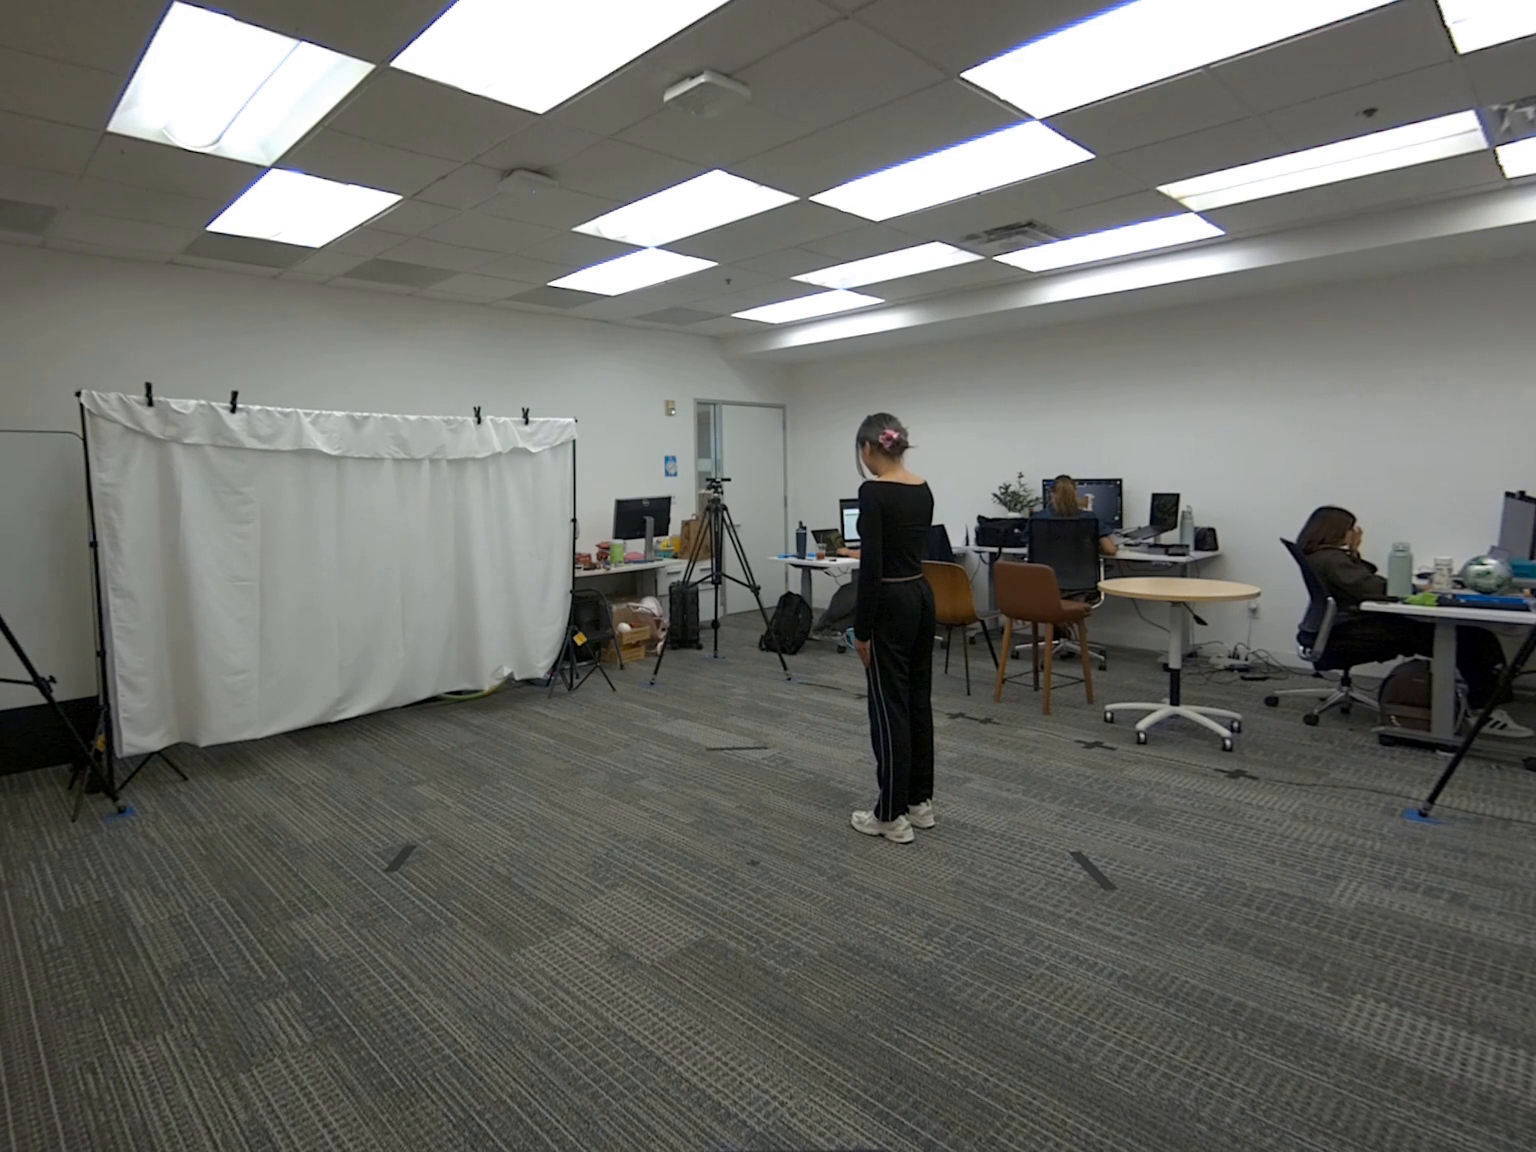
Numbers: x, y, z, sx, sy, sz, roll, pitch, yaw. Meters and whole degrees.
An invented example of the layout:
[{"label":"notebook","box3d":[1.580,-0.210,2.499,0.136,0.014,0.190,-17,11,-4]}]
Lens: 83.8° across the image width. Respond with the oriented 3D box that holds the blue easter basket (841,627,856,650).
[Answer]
[{"label":"blue easter basket","box3d":[0.474,0.287,3.745,0.243,0.157,0.242,-13,-5,-3]}]
